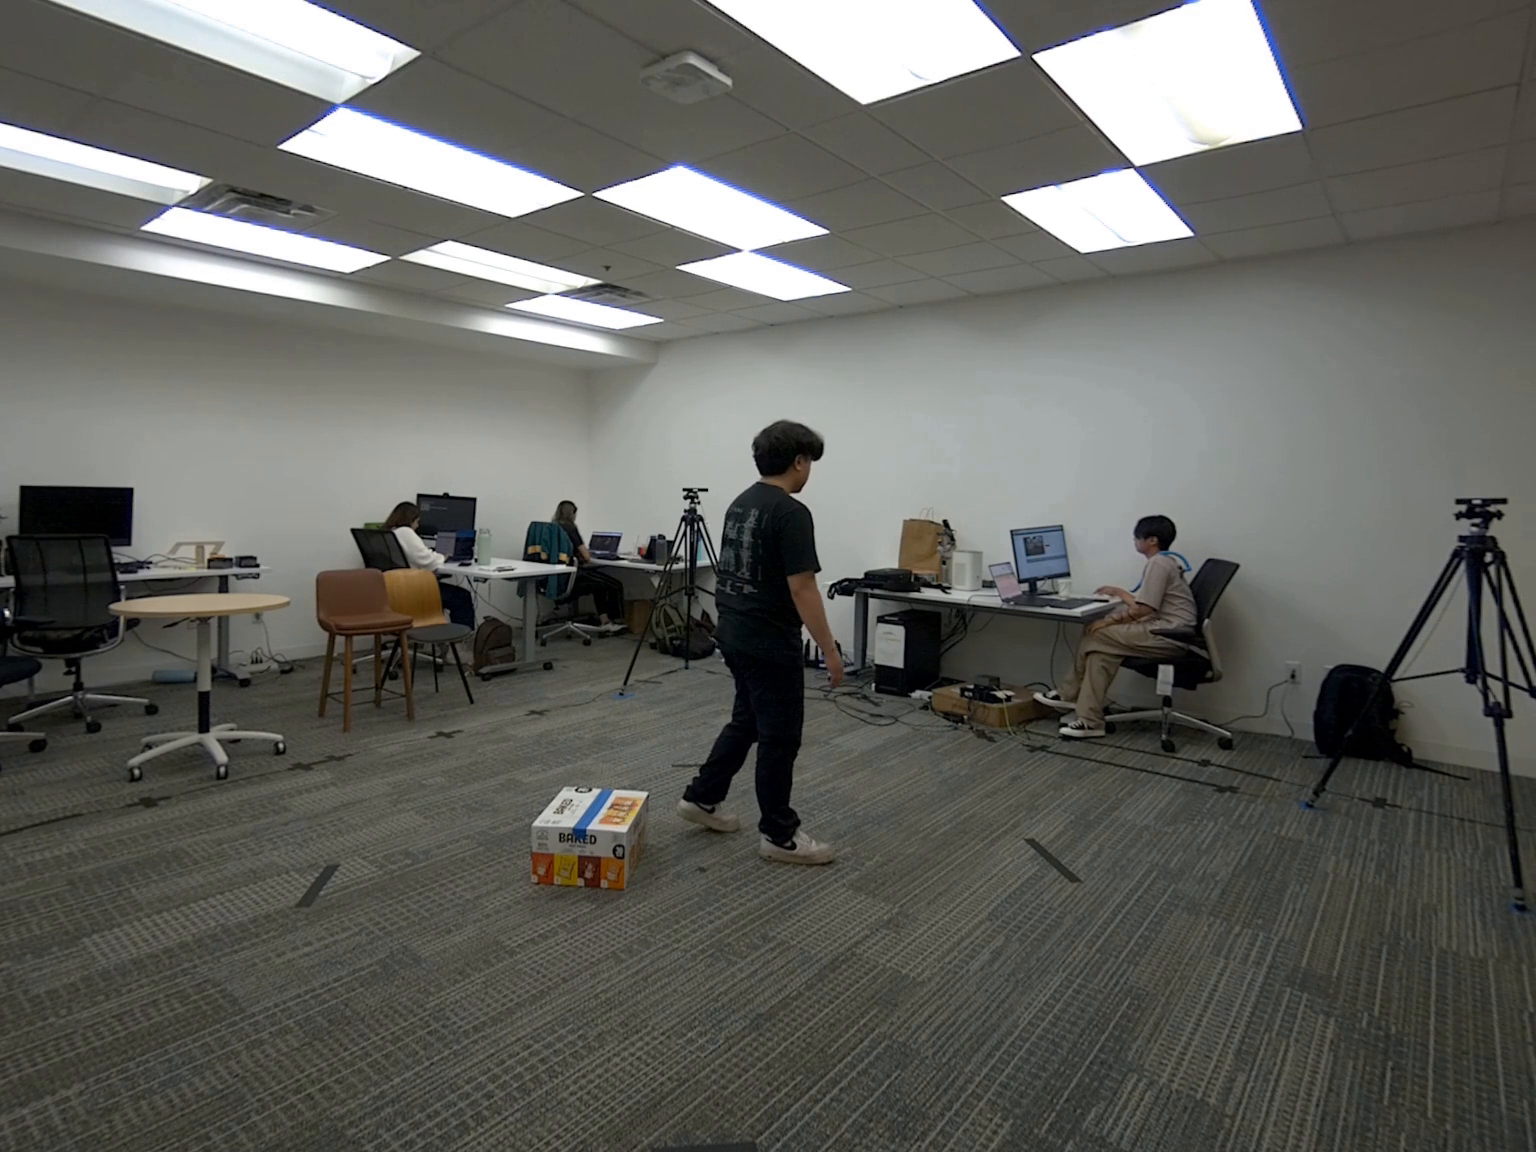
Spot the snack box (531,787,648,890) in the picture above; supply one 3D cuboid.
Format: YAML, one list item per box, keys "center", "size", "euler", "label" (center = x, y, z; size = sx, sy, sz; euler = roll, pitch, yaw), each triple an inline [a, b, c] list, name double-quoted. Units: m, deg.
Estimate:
- center: [-0.660, 0.956, 3.144]
  size: [0.343, 0.205, 0.404]
  euler: [2, 5, 5]
  label: "snack box"
